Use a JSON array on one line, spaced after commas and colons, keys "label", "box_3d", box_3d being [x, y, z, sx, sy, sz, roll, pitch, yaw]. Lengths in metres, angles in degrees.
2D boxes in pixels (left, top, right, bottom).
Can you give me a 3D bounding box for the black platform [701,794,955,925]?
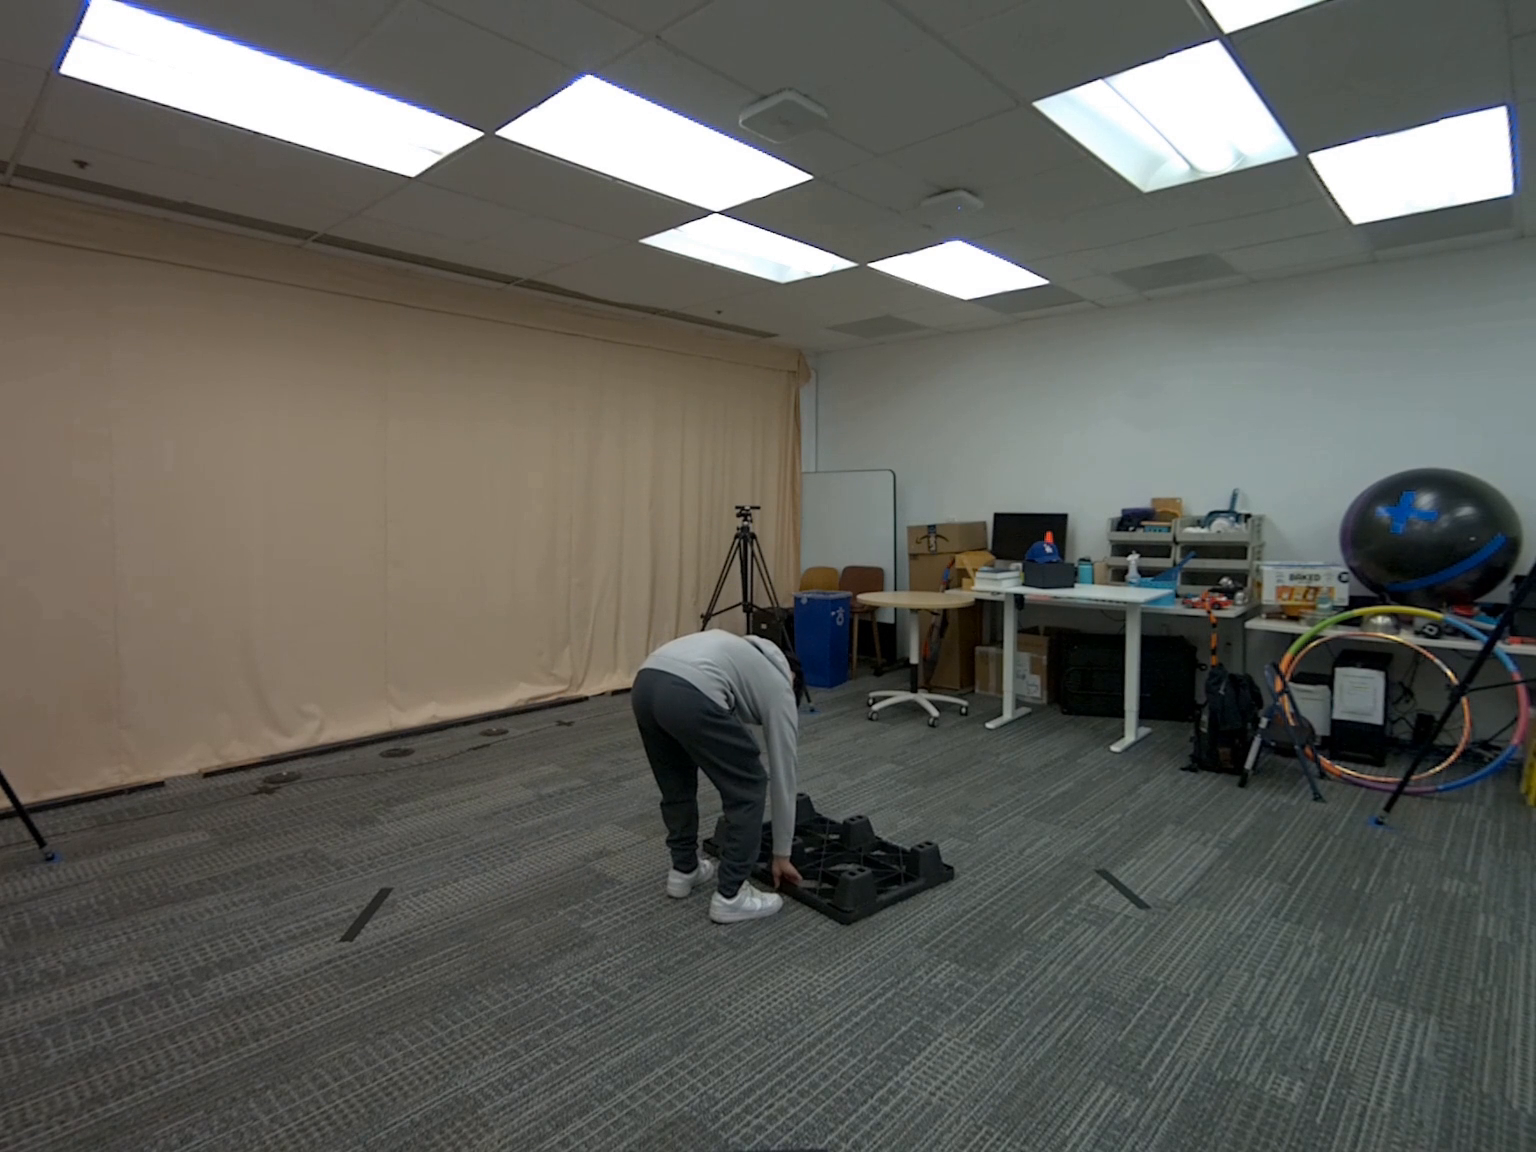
[{"label": "black platform", "box_3d": [0.225, 1.055, 3.275, 0.587, 0.143, 0.833, -5, 7, -41]}]
